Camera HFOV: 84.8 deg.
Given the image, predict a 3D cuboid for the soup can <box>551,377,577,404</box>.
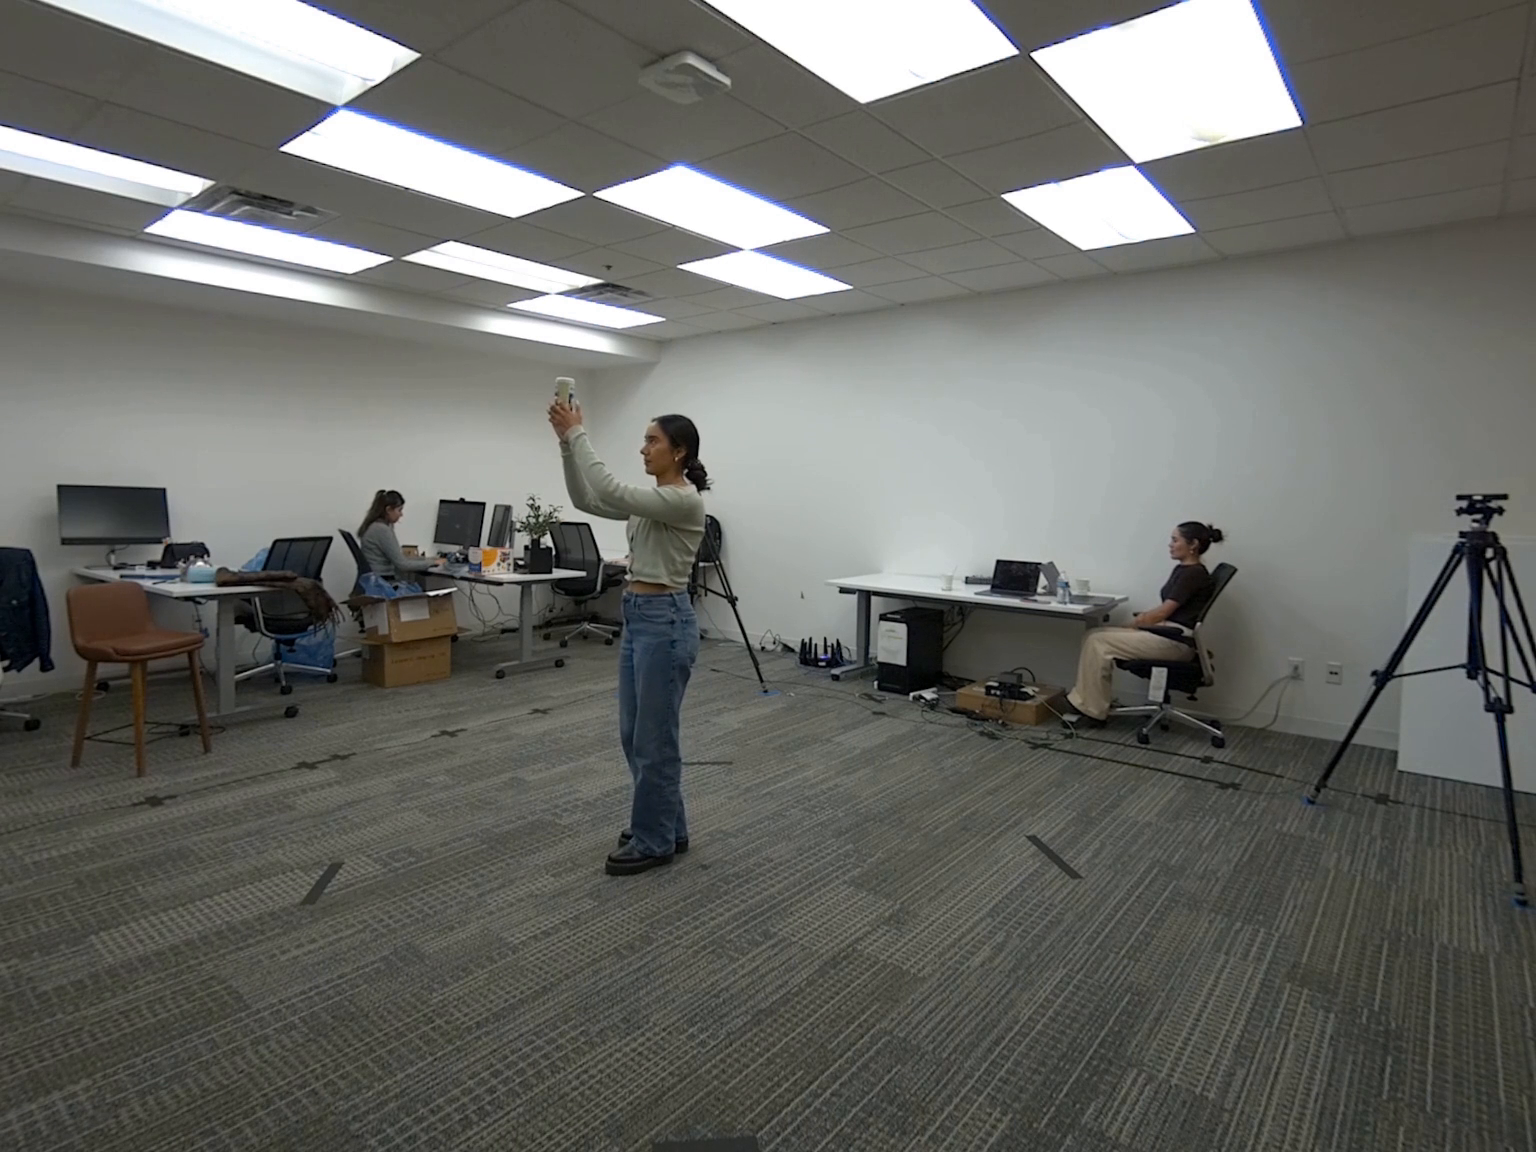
[{"bbox_3d":[-0.726,-0.634,2.977,0.067,0.121,0.067,5,0,-2],"label":"soup can"}]
